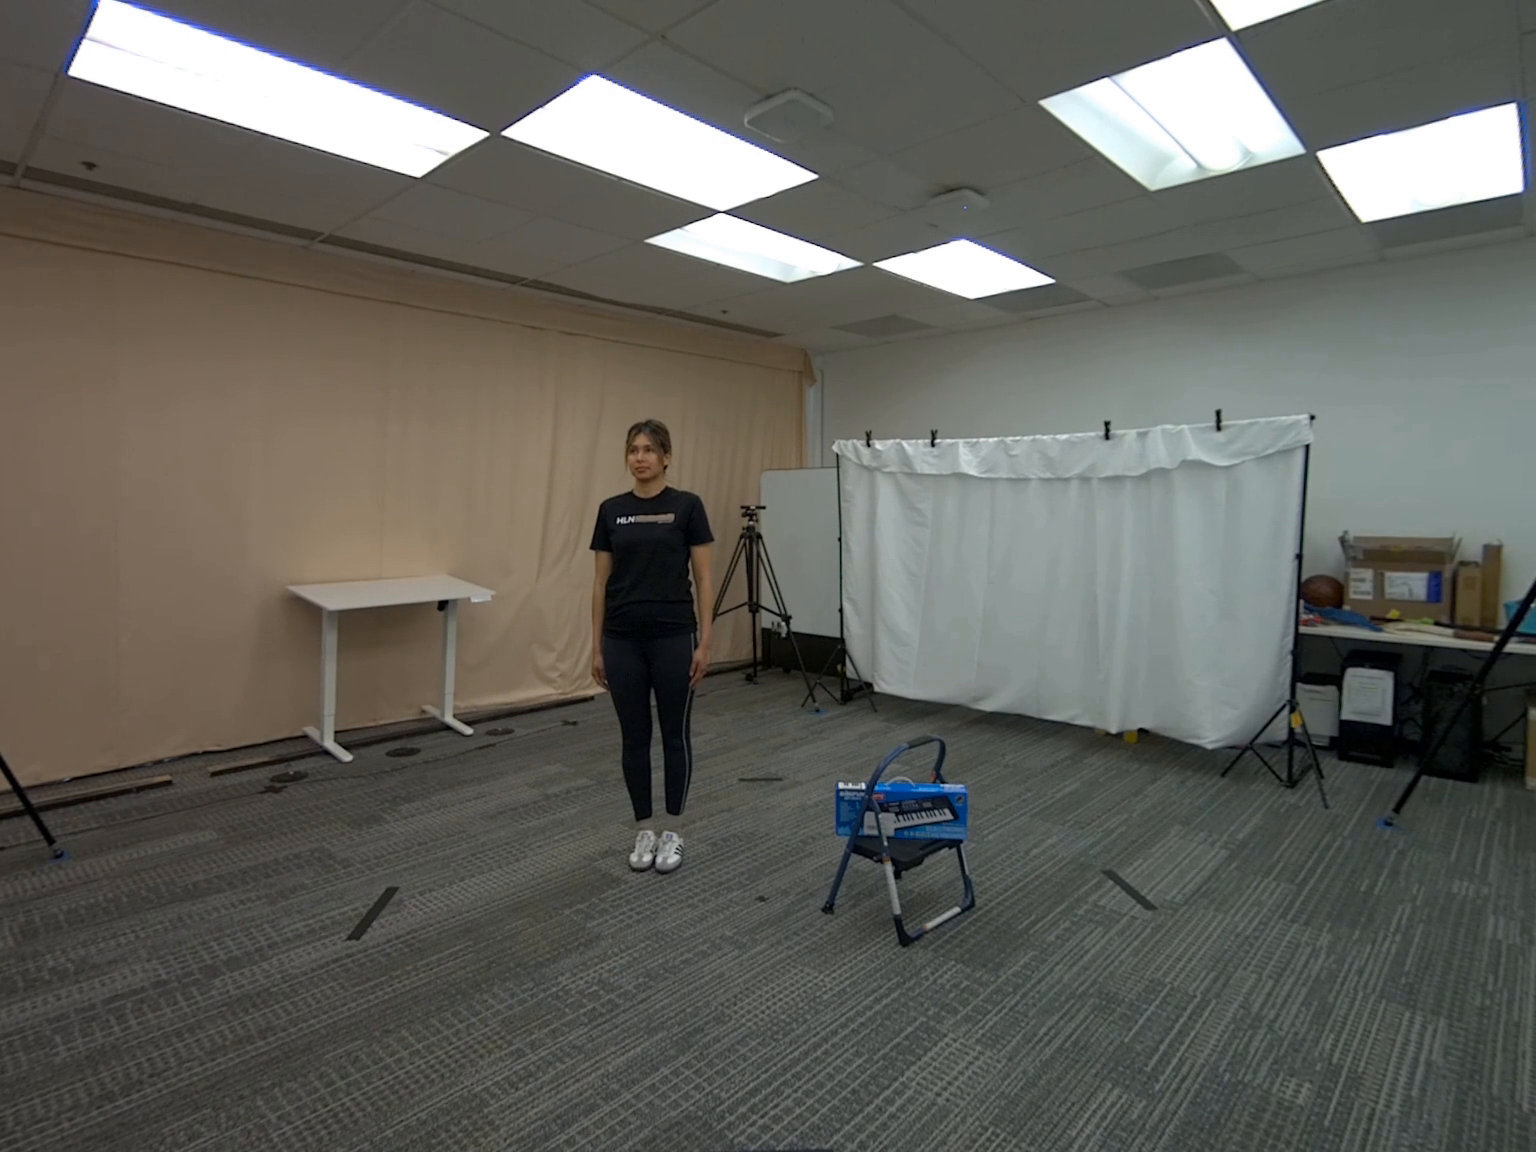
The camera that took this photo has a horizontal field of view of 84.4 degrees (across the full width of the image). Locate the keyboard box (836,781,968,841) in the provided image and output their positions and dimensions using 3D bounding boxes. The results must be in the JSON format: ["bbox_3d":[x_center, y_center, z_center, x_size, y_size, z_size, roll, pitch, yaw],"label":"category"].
[{"bbox_3d":[0.464,0.804,2.874,0.440,0.175,0.059,0,9,7],"label":"keyboard box"}]
